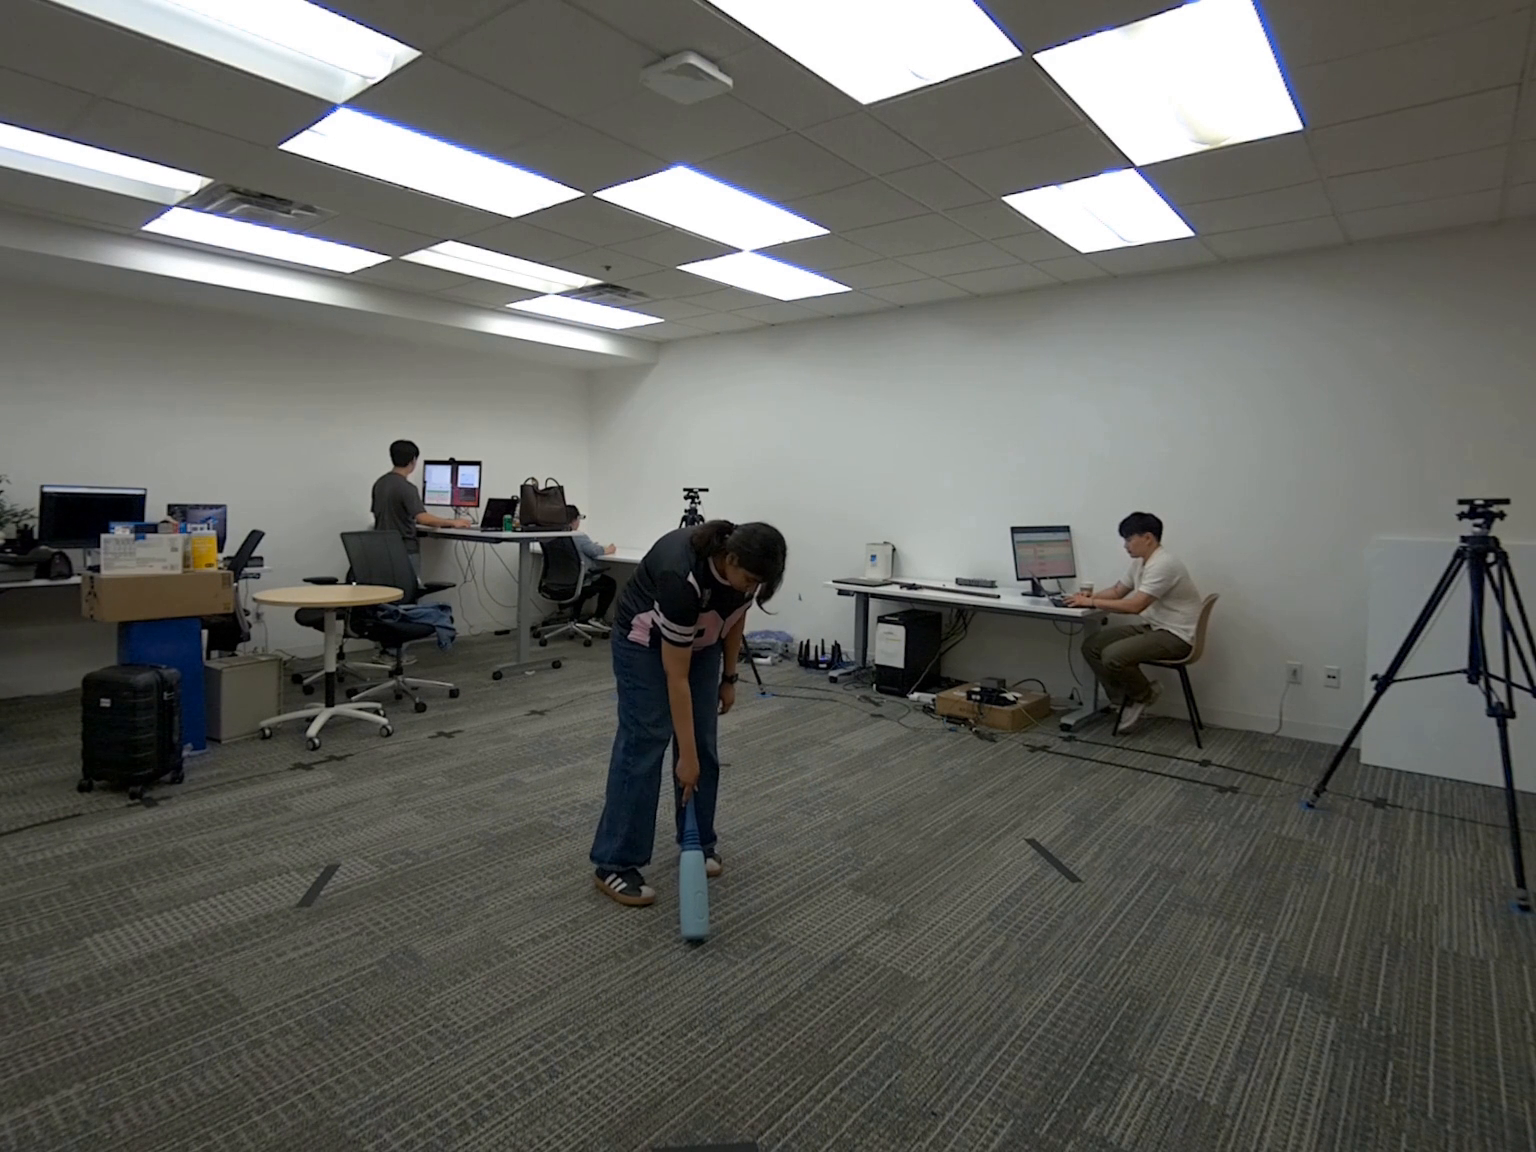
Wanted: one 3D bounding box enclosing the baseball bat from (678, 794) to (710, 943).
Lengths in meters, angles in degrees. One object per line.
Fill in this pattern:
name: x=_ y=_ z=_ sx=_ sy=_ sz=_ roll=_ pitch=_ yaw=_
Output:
baseball bat: x=-0.247 y=0.866 z=2.728 sx=0.089 sy=0.557 sz=0.087 roll=-3 pitch=-29 yaw=-3
